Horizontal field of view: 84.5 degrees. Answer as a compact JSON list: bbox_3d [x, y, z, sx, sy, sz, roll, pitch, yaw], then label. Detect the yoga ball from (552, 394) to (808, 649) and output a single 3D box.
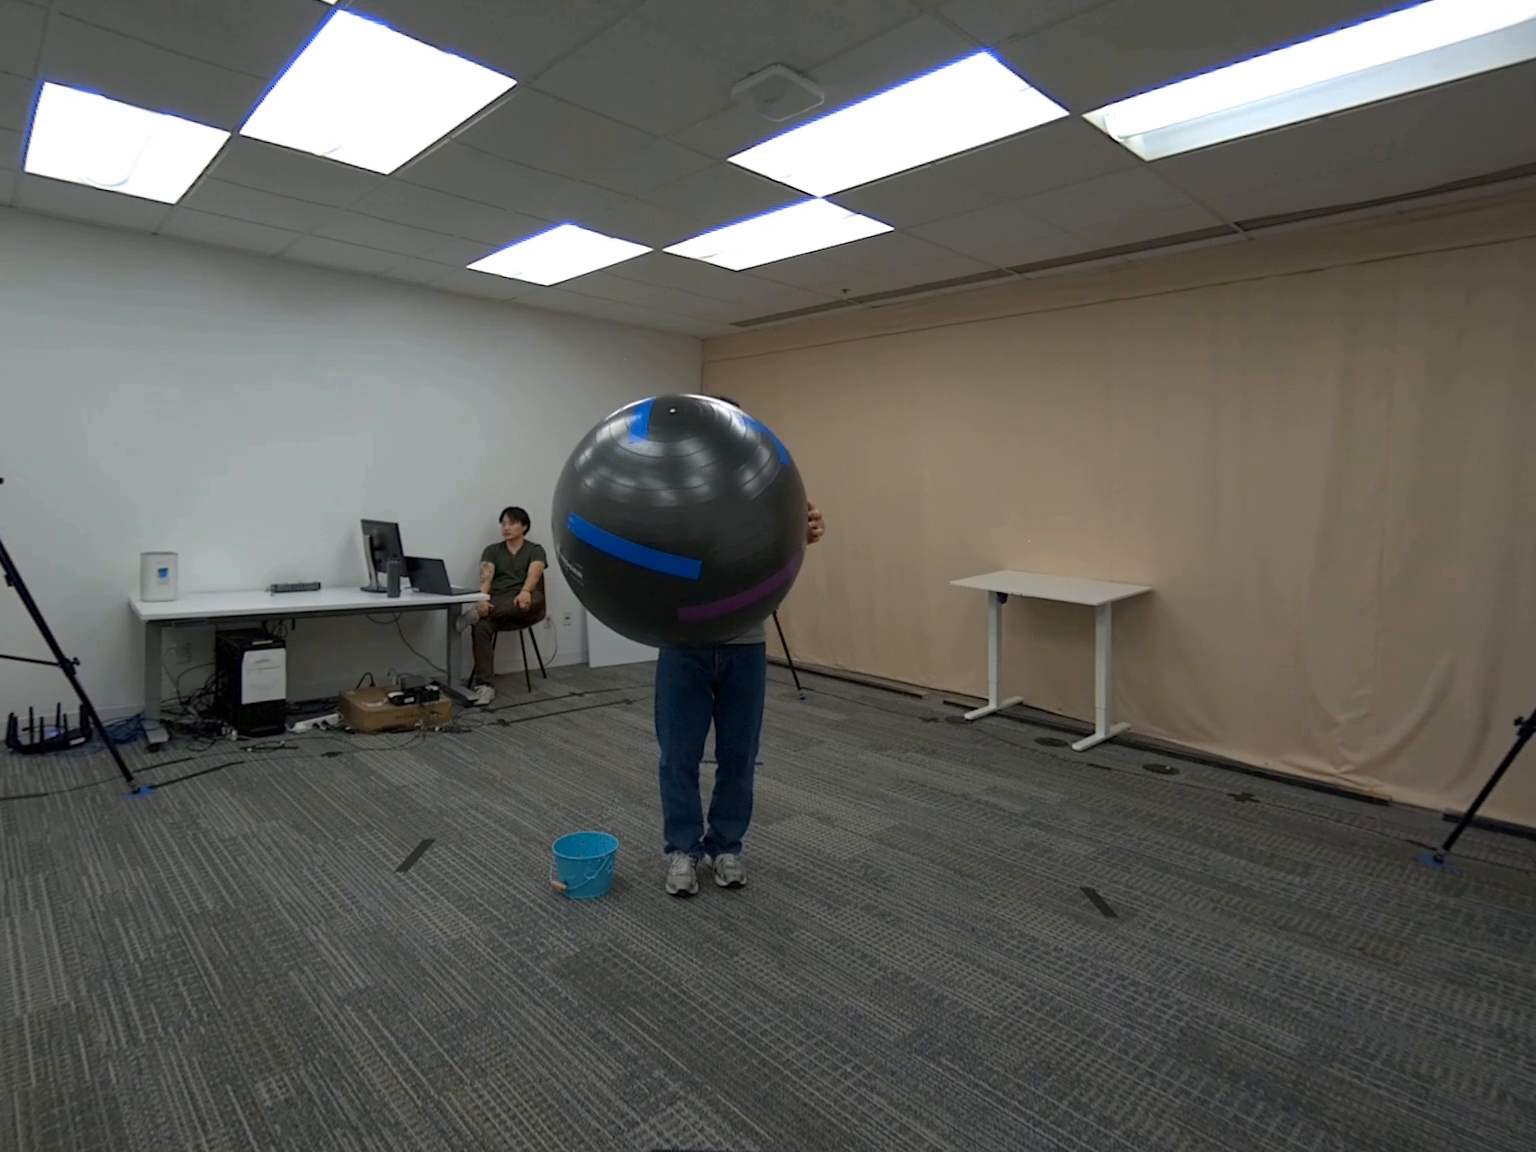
[{"bbox_3d":[-0.268,-0.147,2.494,0.757,0.756,0.761,1,4,-1],"label":"yoga ball"}]
